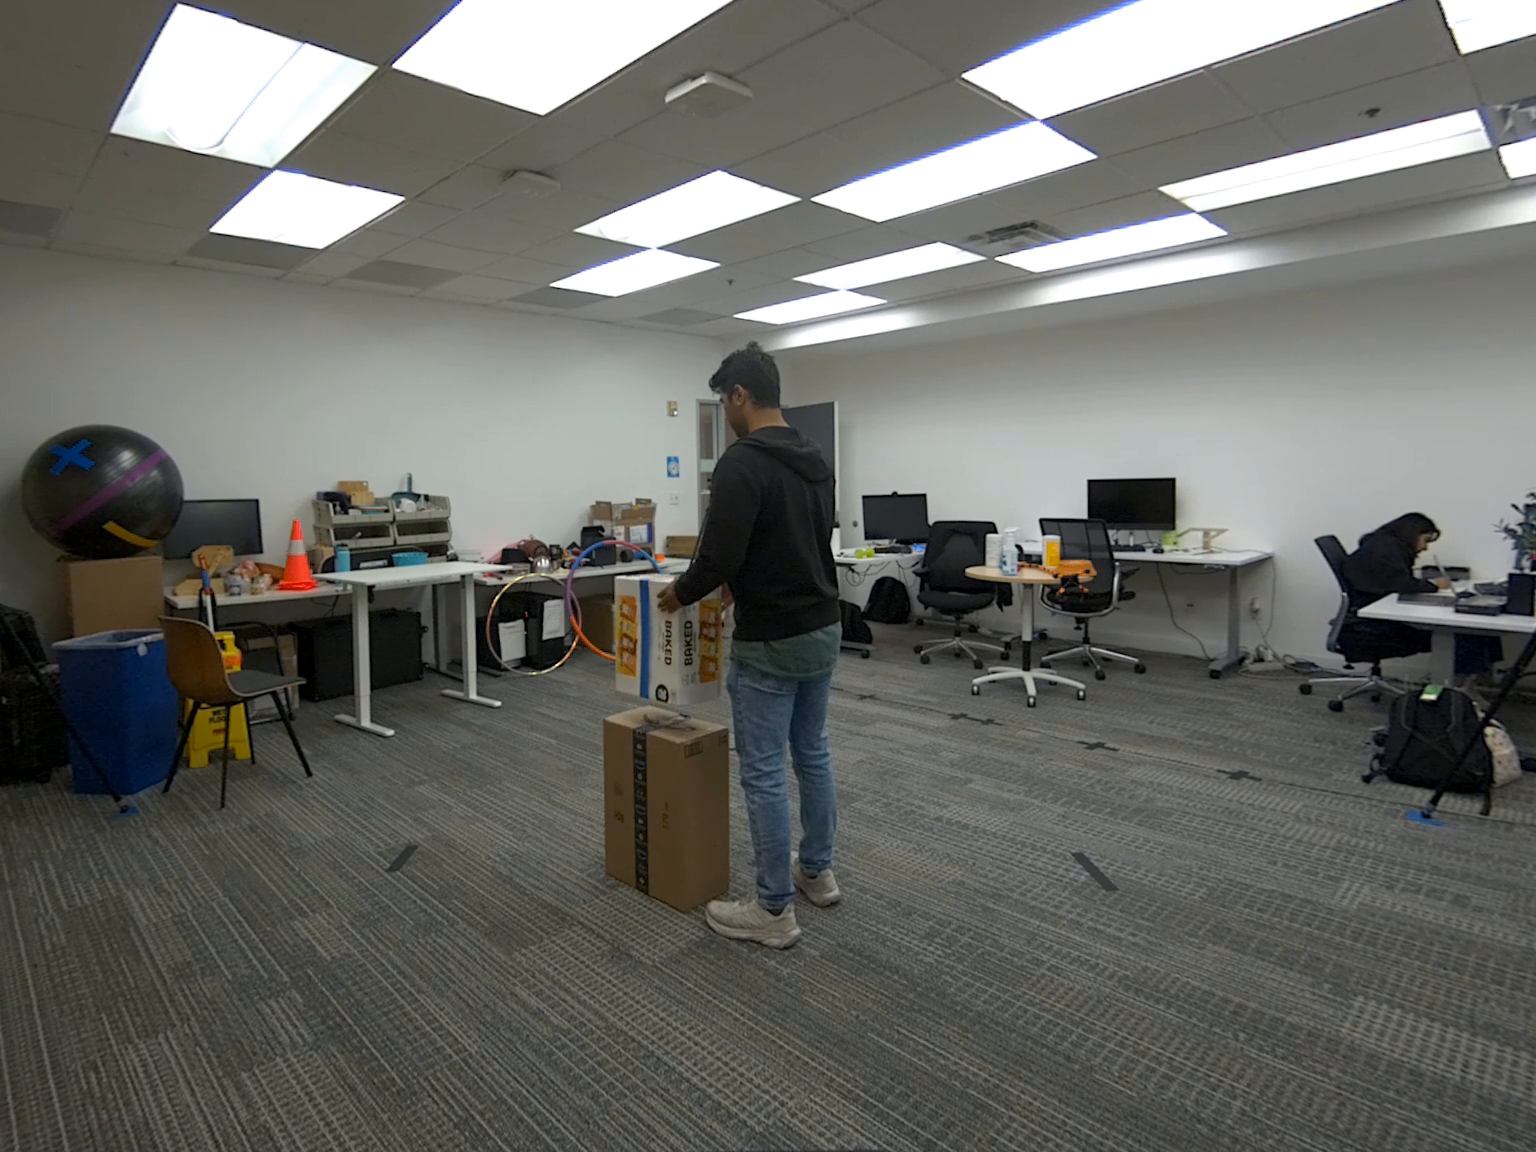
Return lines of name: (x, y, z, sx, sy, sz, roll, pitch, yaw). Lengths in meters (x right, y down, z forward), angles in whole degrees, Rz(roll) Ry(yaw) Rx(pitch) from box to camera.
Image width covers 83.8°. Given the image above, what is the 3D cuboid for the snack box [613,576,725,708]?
snack box: (-0.342, 0.200, 2.944, 0.200, 0.404, 0.350, -3, 4, -45)
